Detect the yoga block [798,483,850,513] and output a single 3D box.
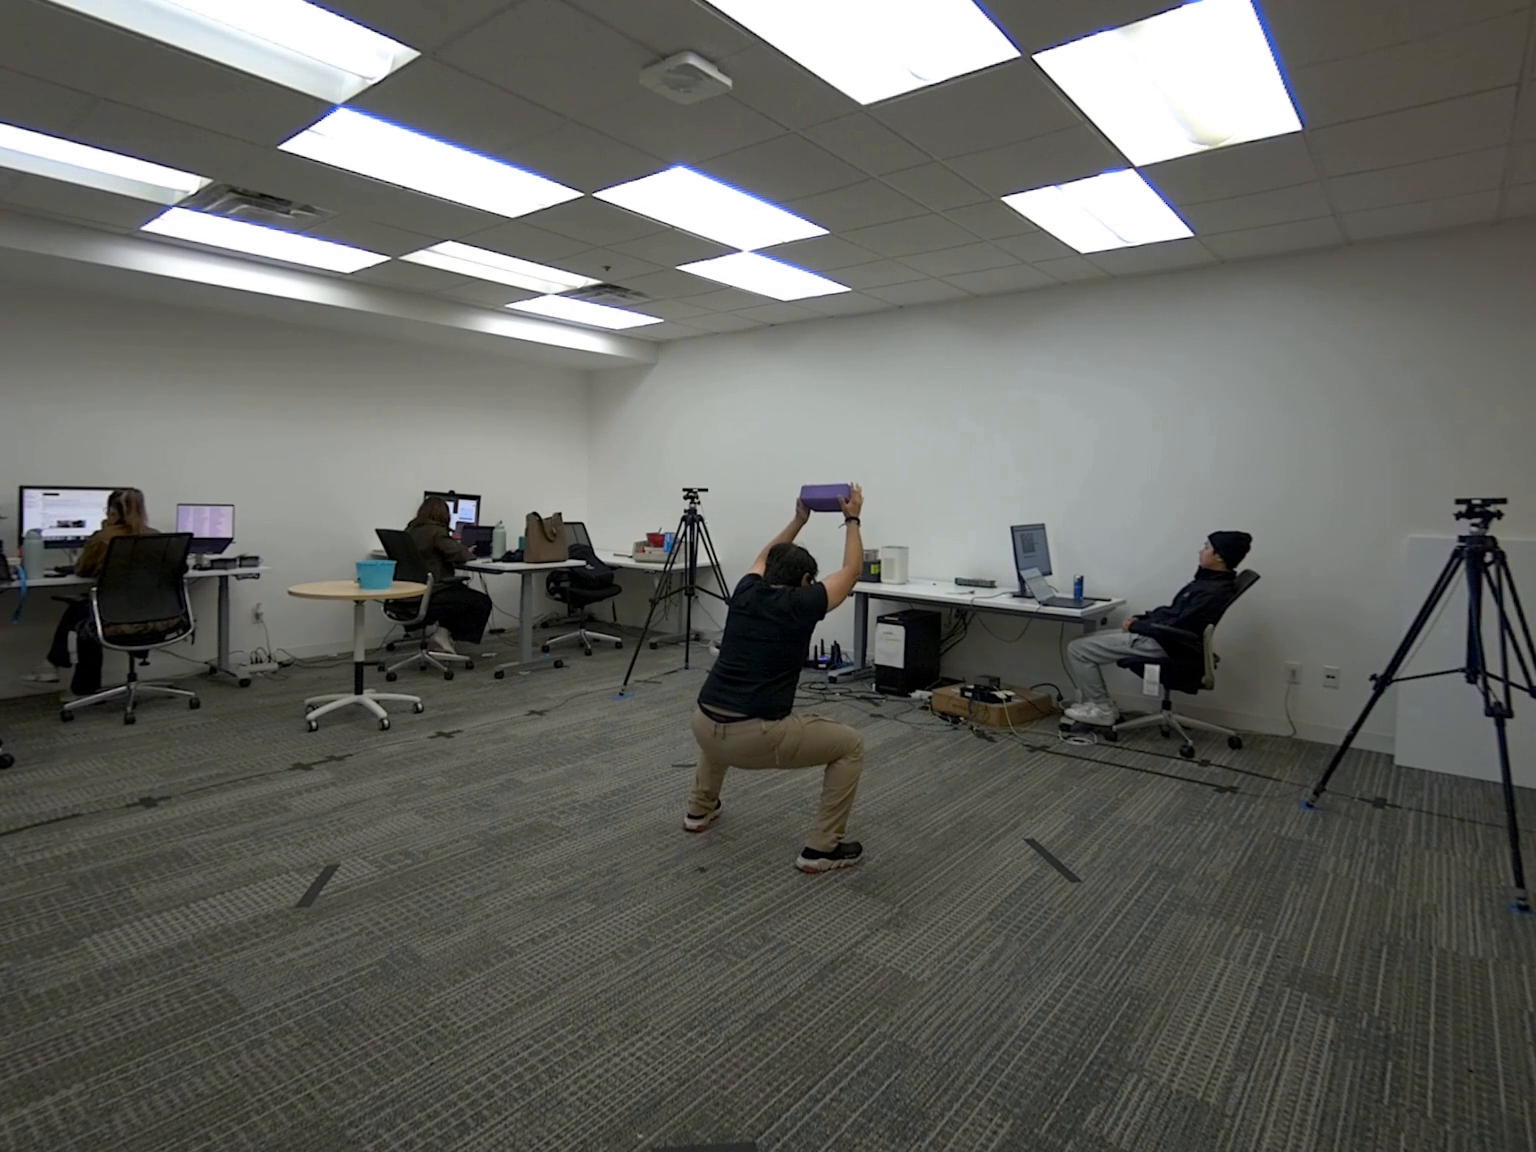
[{"bbox_3d":[0.254,-0.343,3.650,0.236,0.077,0.143,1,-21,35],"label":"yoga block"}]
